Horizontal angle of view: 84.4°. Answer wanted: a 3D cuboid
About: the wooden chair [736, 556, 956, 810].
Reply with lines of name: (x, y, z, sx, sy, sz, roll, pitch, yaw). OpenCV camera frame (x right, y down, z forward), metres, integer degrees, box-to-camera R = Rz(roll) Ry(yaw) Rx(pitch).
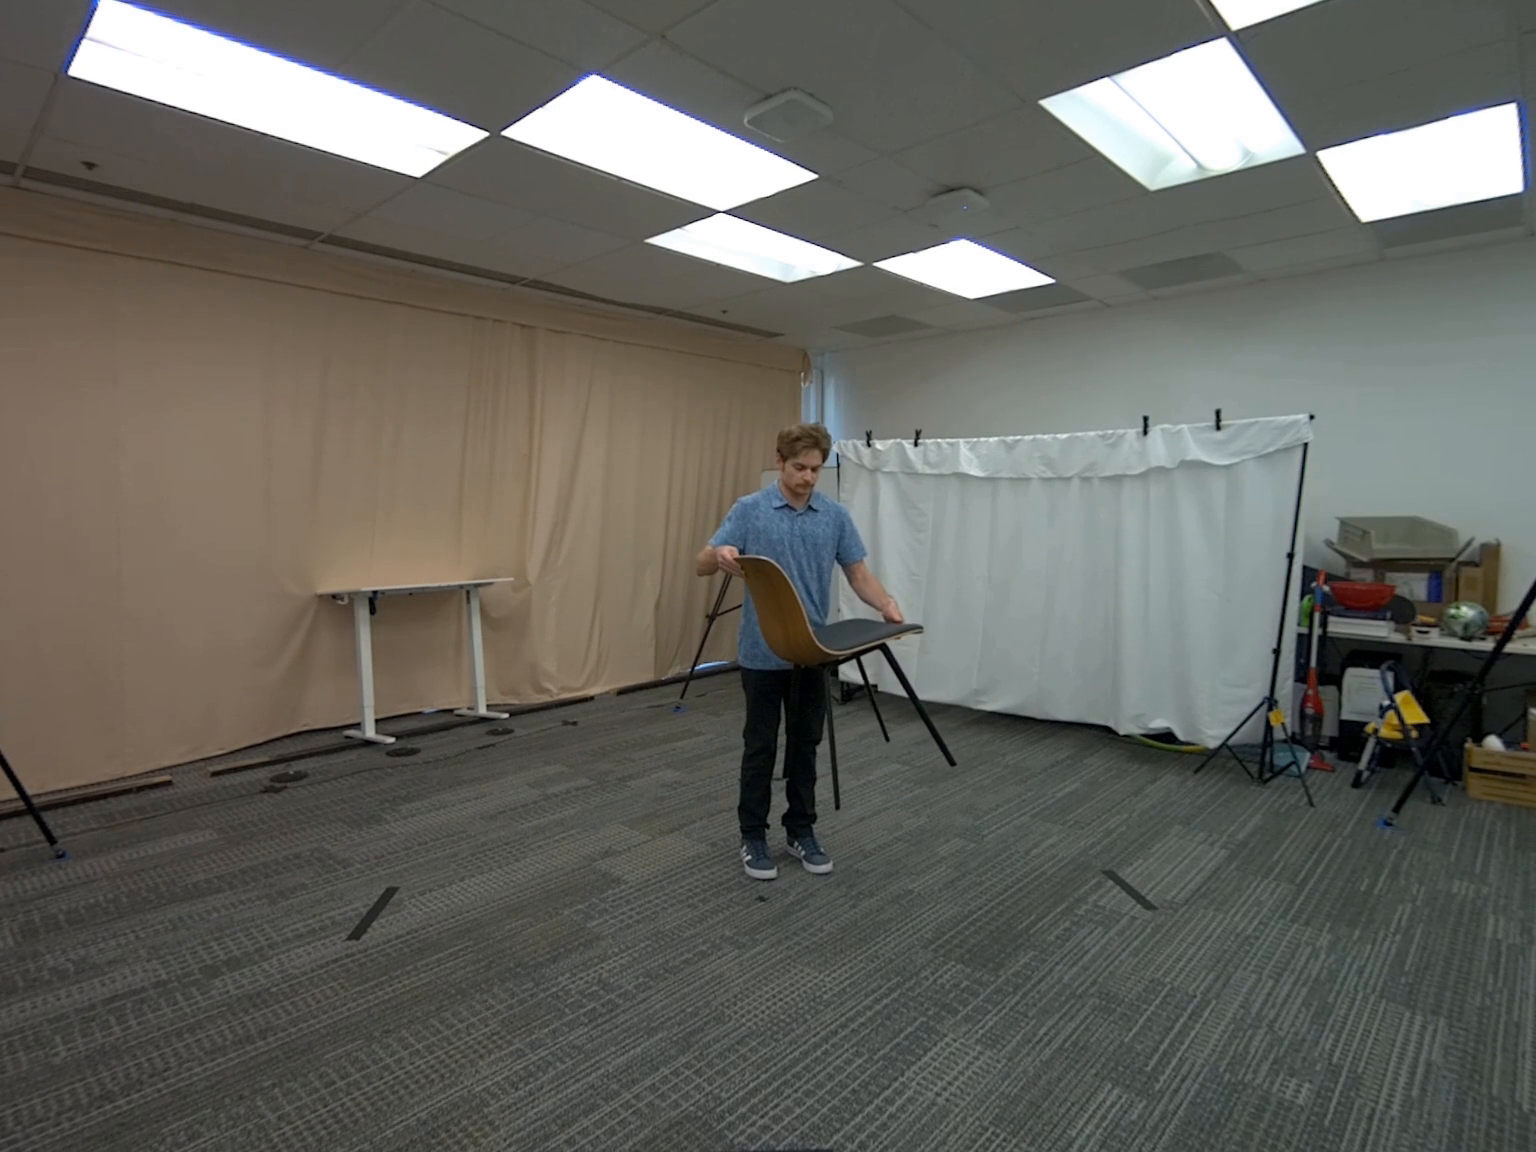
wooden chair: (0.257, 0.281, 2.908, 0.515, 0.874, 0.487, -19, 4, -19)
